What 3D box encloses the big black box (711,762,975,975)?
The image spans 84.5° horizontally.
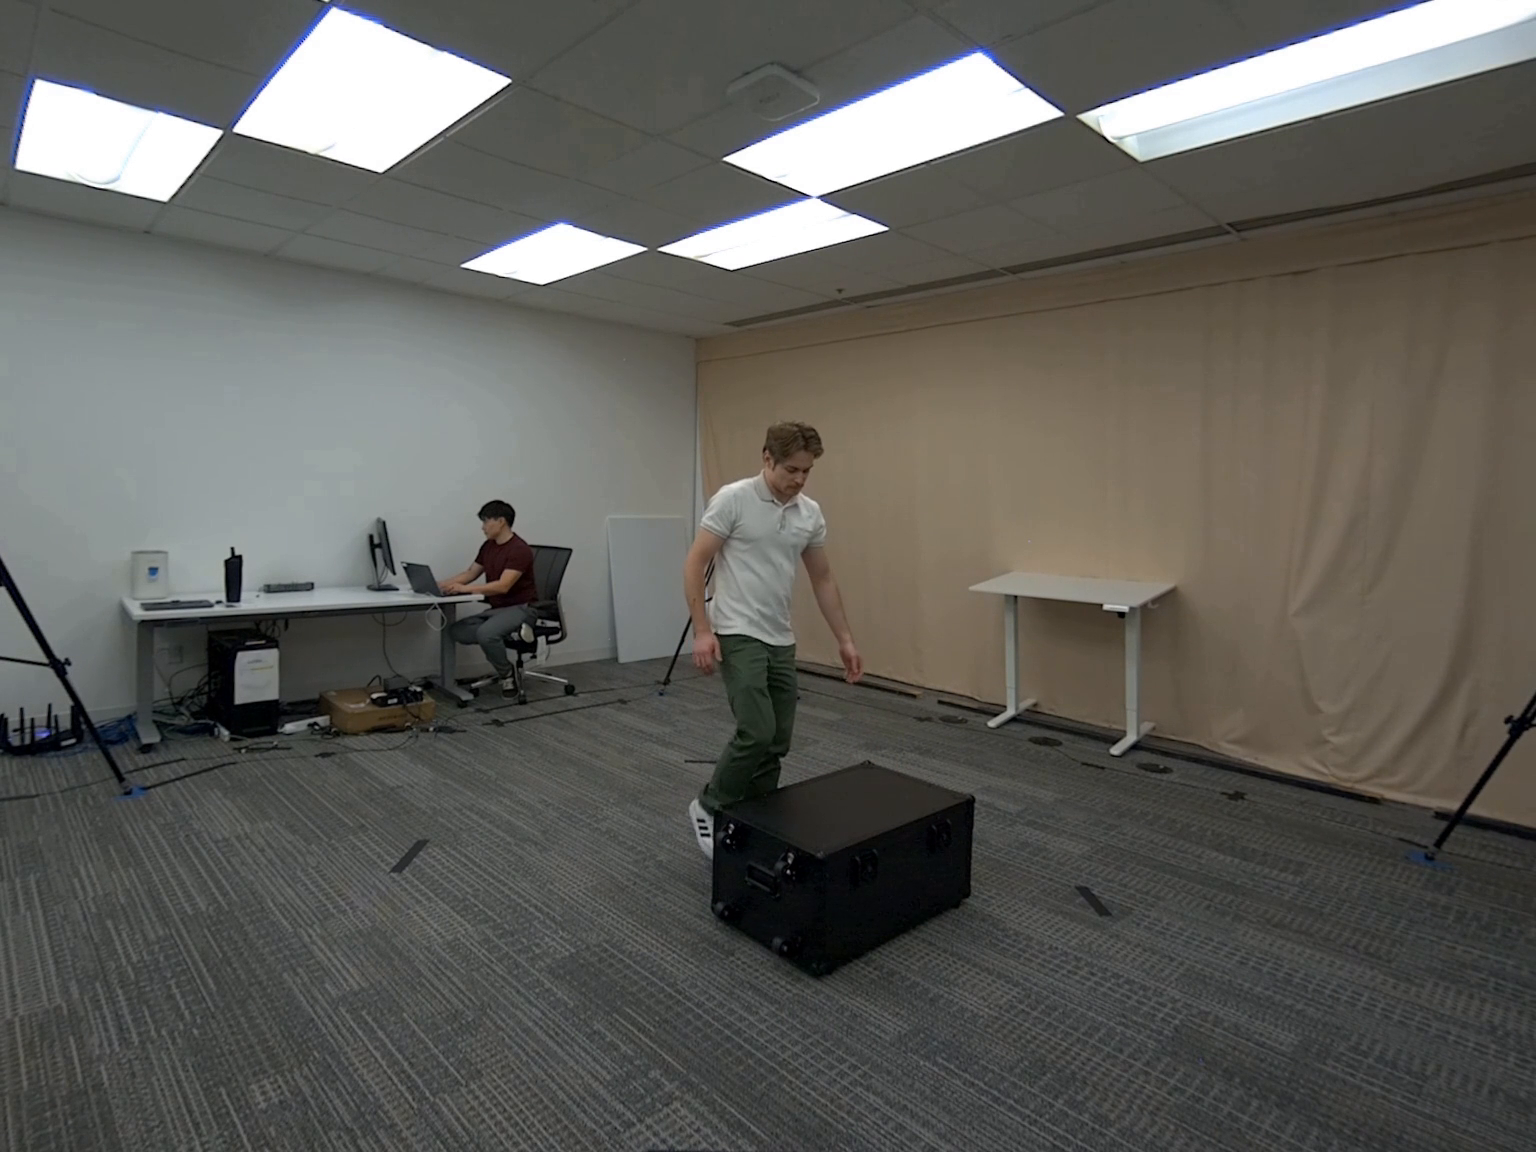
[{"bbox_3d":[0.235,0.946,2.822,0.841,0.395,0.535,-2,5,-43],"label":"big black box"}]
